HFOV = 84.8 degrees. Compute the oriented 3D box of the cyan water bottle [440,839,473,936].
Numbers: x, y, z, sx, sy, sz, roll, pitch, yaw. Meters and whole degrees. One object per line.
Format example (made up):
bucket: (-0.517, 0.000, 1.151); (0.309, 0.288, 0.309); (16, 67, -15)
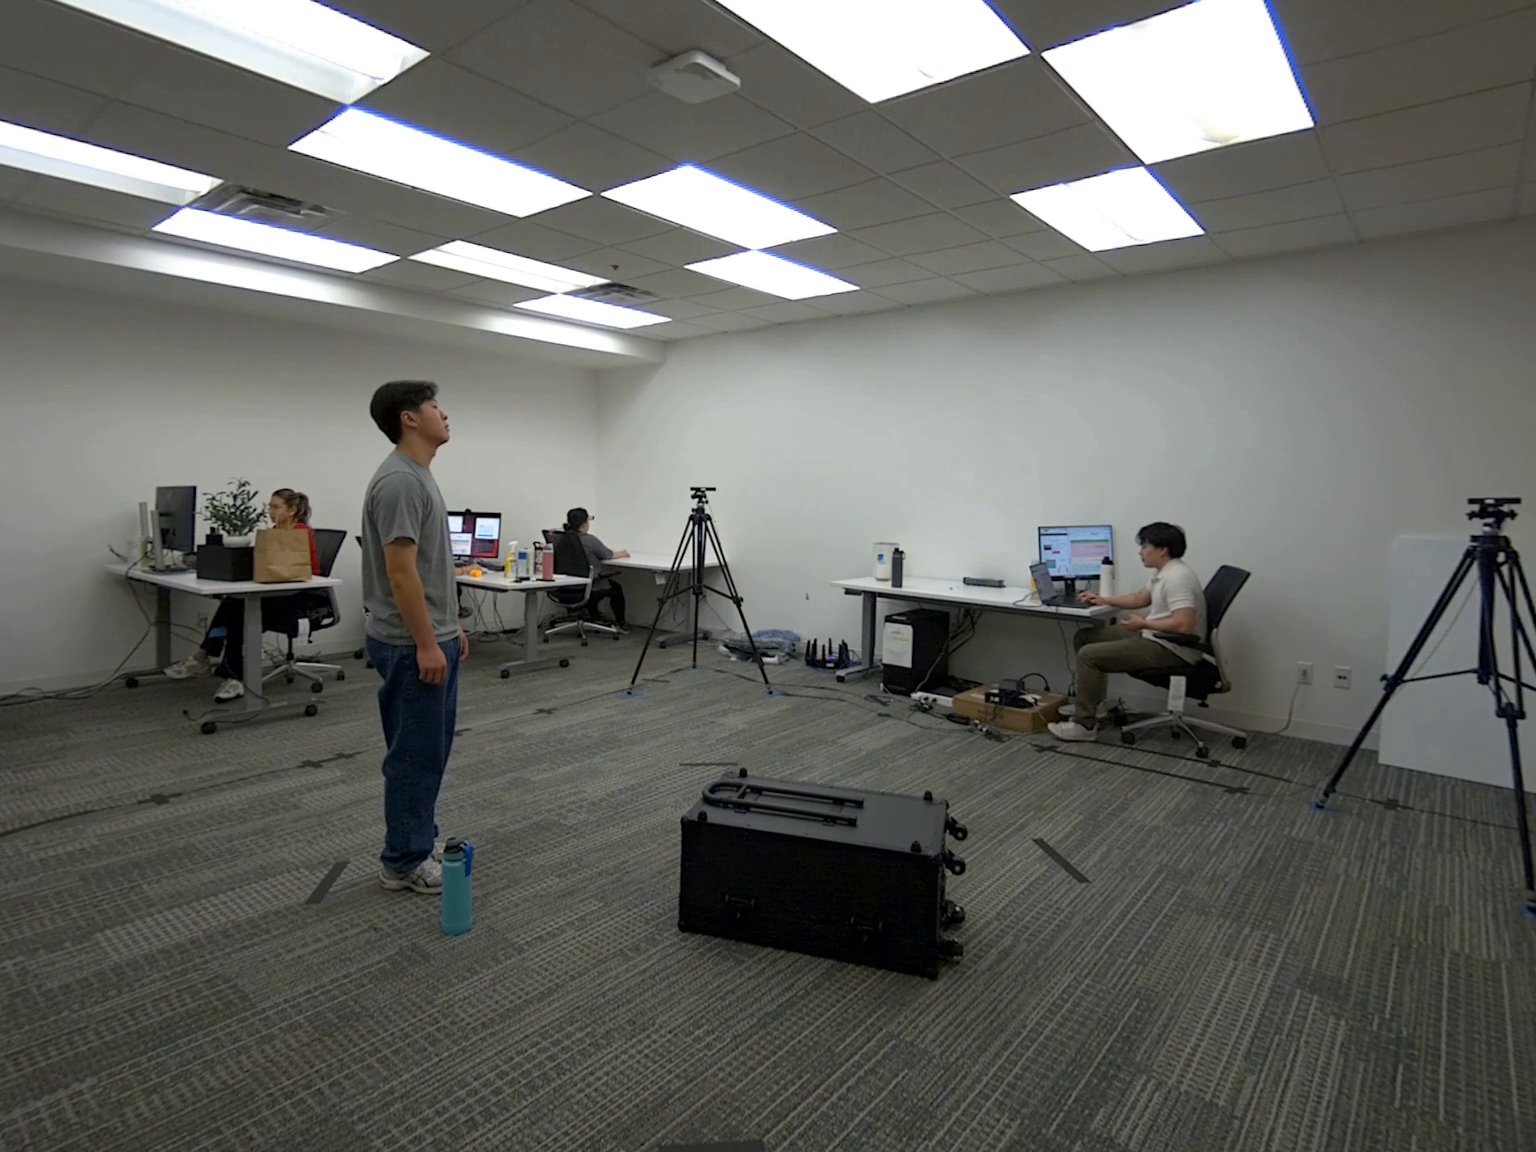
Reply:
cyan water bottle: (-0.979, 0.960, 2.649); (0.092, 0.282, 0.093); (2, 4, -2)
